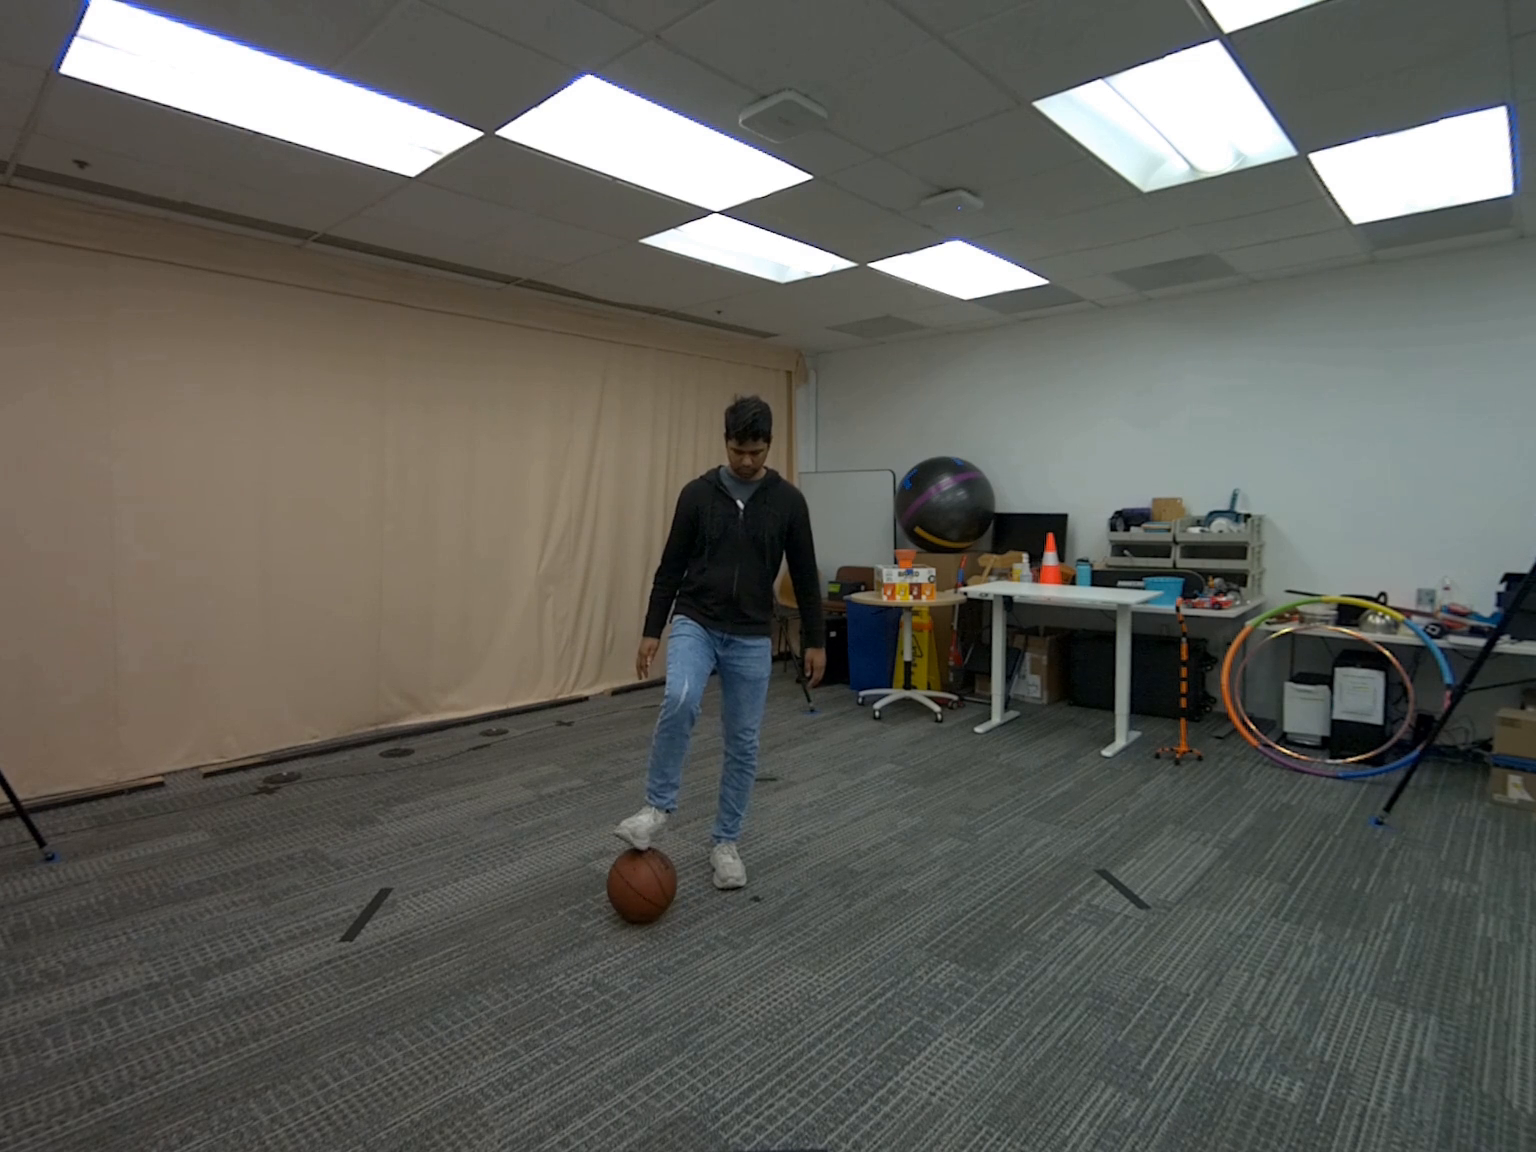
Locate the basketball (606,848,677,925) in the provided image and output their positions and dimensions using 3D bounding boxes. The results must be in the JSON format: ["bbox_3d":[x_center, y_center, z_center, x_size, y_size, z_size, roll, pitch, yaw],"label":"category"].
[{"bbox_3d":[-0.419,1.036,2.842,0.236,0.235,0.237,0,4,-2],"label":"basketball"}]
